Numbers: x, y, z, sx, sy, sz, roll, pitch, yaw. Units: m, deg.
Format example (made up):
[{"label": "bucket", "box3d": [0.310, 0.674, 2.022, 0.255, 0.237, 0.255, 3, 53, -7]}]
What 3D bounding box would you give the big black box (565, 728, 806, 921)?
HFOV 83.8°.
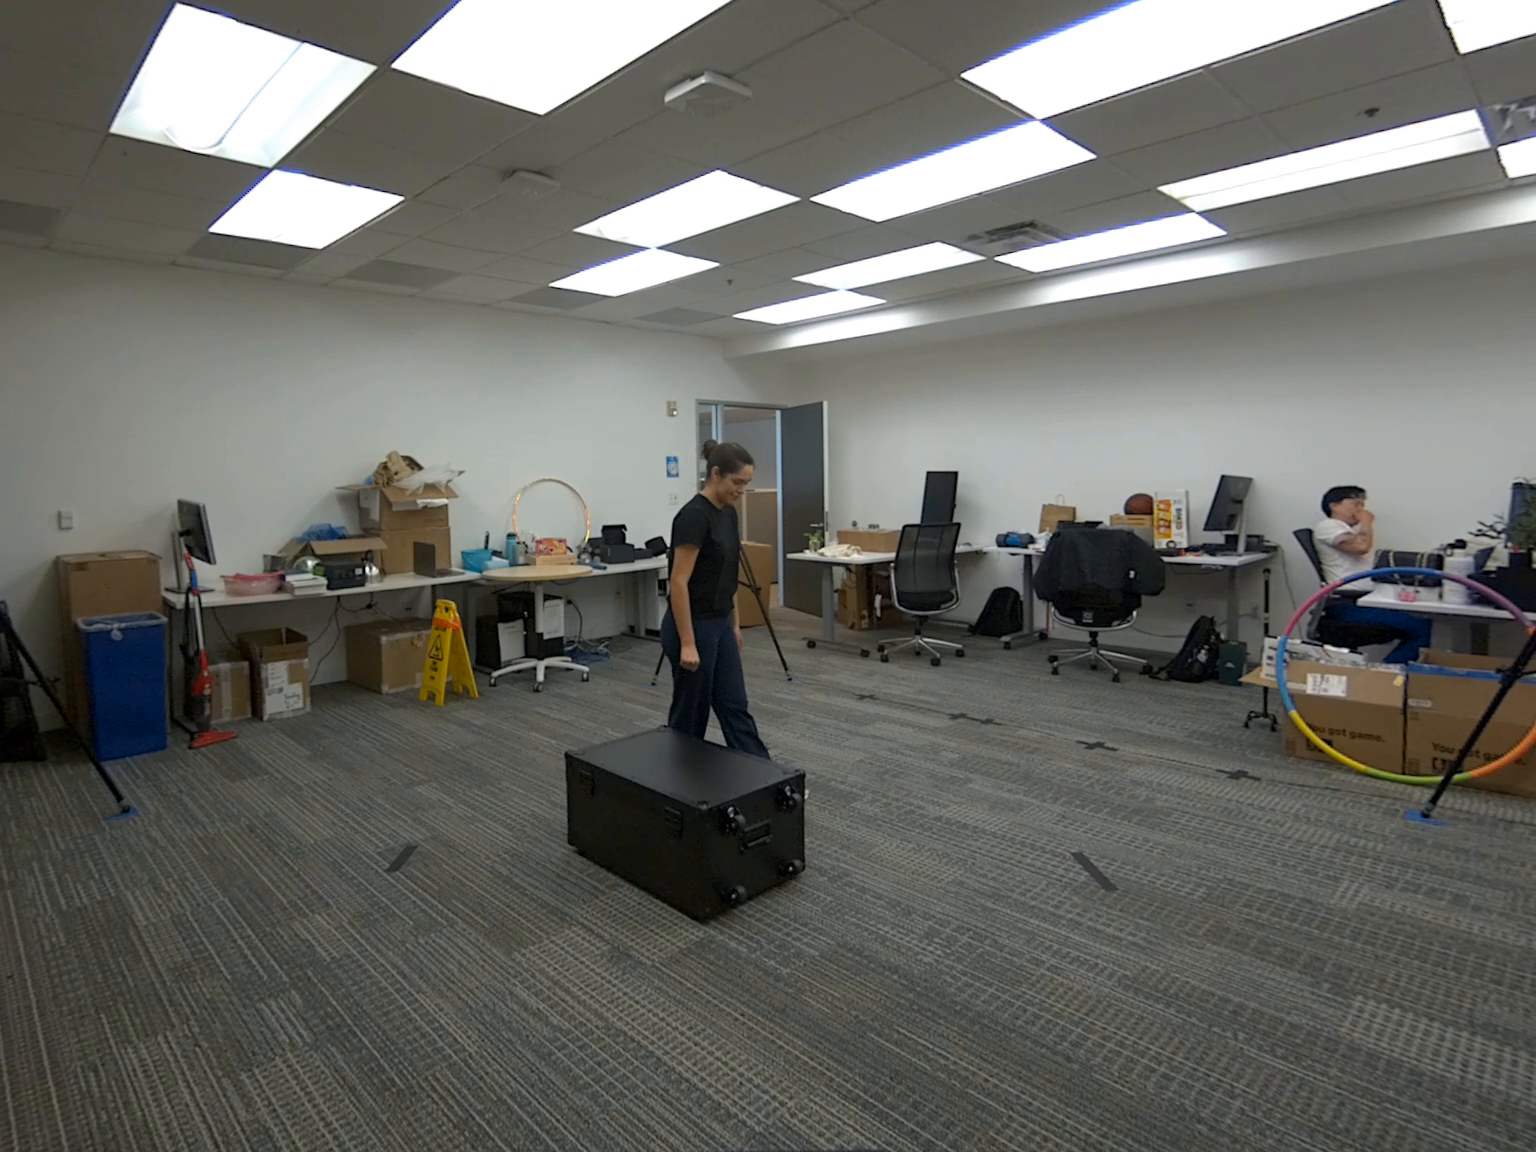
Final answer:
[{"label": "big black box", "box3d": [-0.294, 0.860, 3.093, 0.508, 0.394, 0.888, -7, 8, -45]}]
